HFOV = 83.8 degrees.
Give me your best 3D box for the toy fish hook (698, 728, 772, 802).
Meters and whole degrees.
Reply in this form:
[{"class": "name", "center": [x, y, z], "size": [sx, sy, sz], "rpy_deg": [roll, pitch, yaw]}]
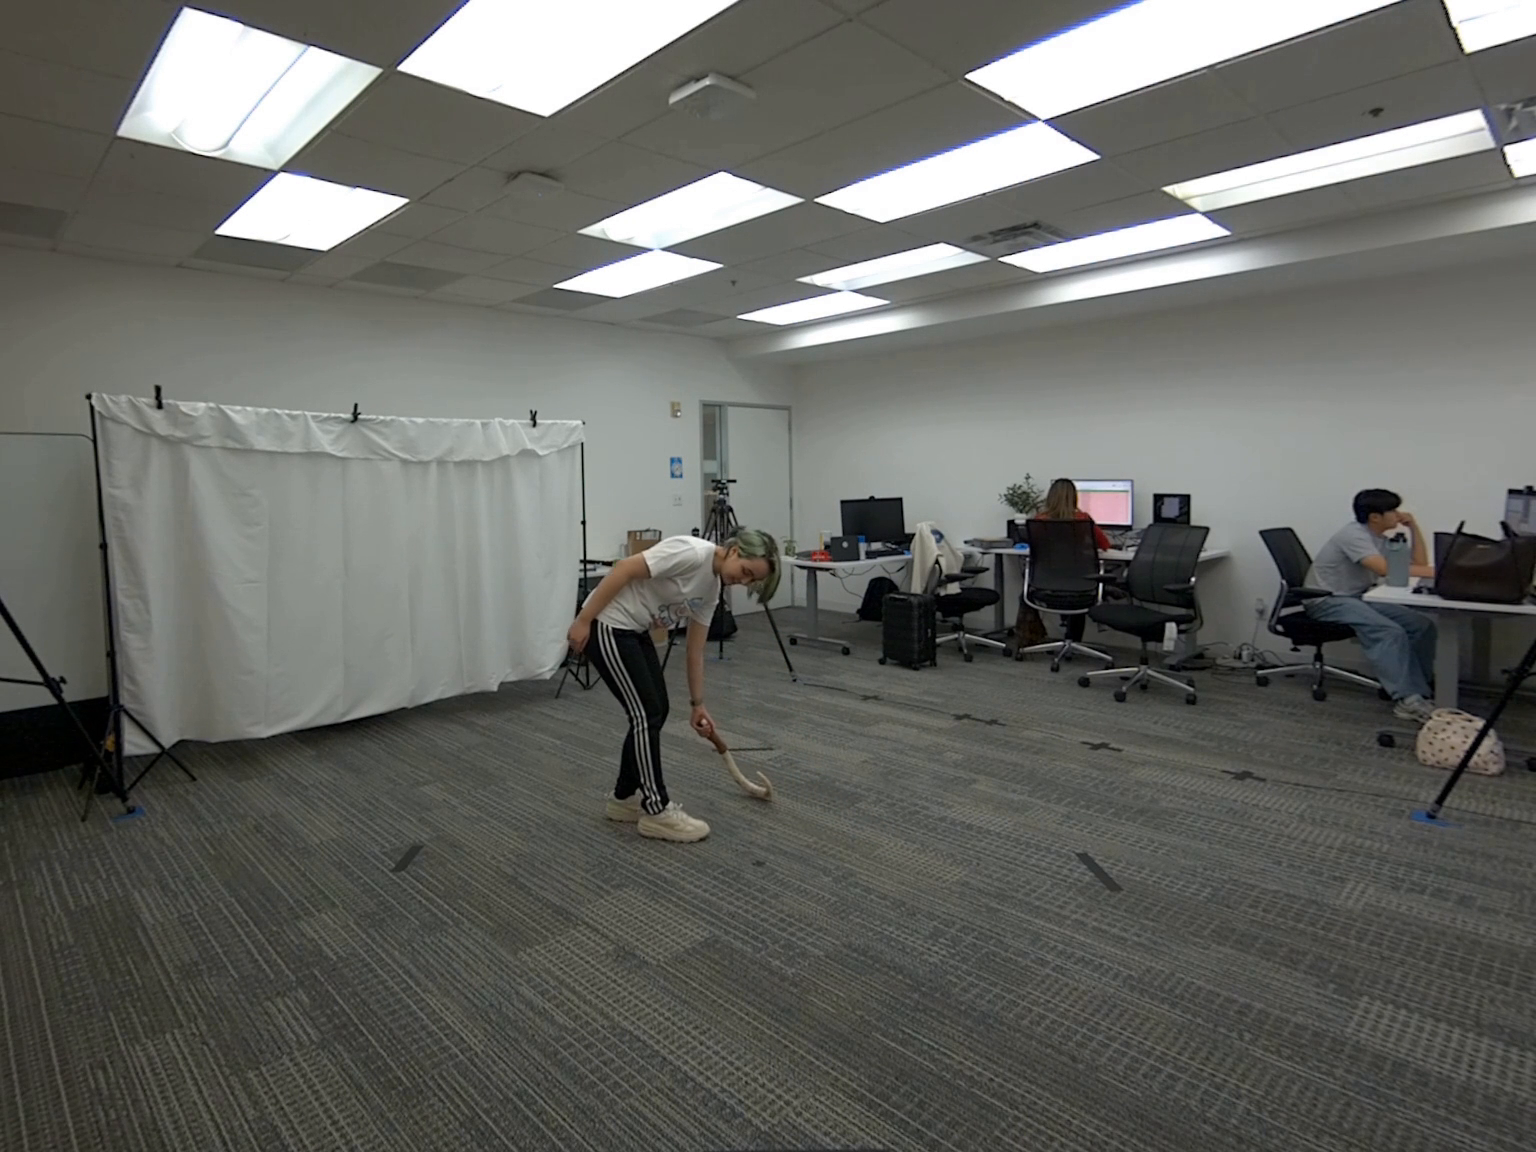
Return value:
[{"class": "toy fish hook", "center": [-0.129, 0.783, 3.646], "size": [0.230, 0.491, 0.048], "rpy_deg": [-5, 38, 42]}]
